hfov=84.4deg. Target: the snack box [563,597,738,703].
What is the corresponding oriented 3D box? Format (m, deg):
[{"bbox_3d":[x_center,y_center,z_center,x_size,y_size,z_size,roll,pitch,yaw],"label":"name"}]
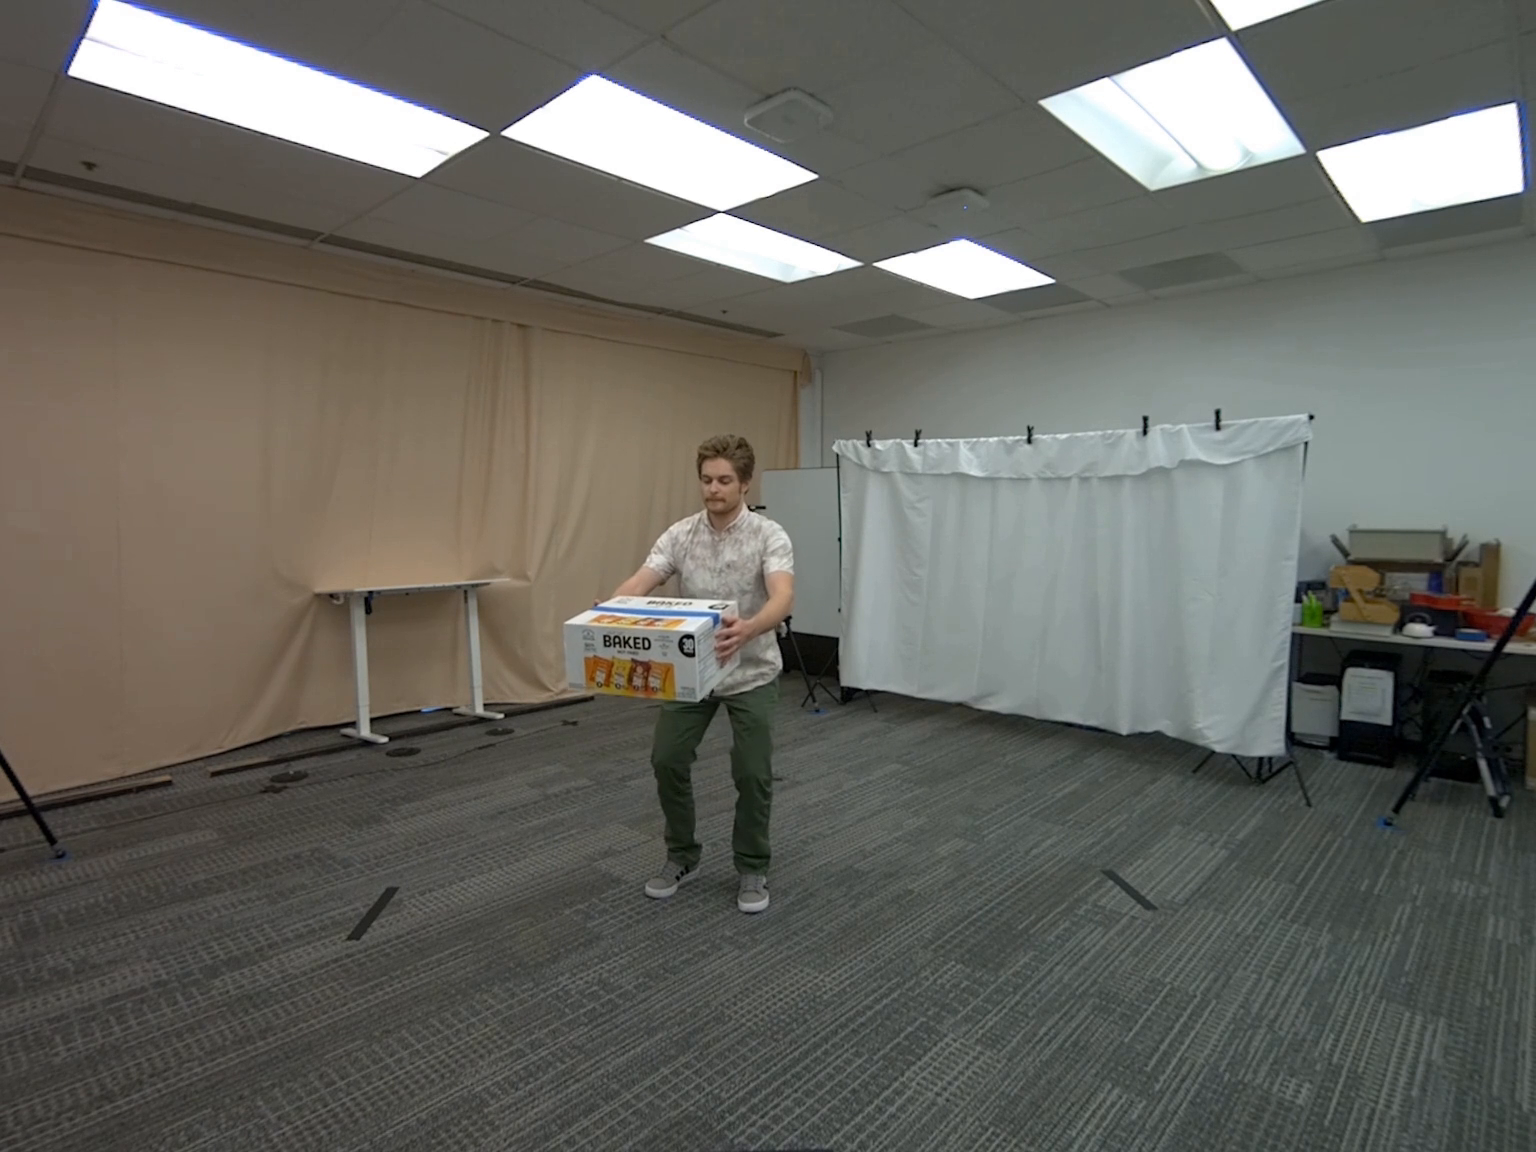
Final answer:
[{"bbox_3d":[-0.332,0.203,2.468,0.413,0.204,0.336,2,12,19],"label":"snack box"}]
